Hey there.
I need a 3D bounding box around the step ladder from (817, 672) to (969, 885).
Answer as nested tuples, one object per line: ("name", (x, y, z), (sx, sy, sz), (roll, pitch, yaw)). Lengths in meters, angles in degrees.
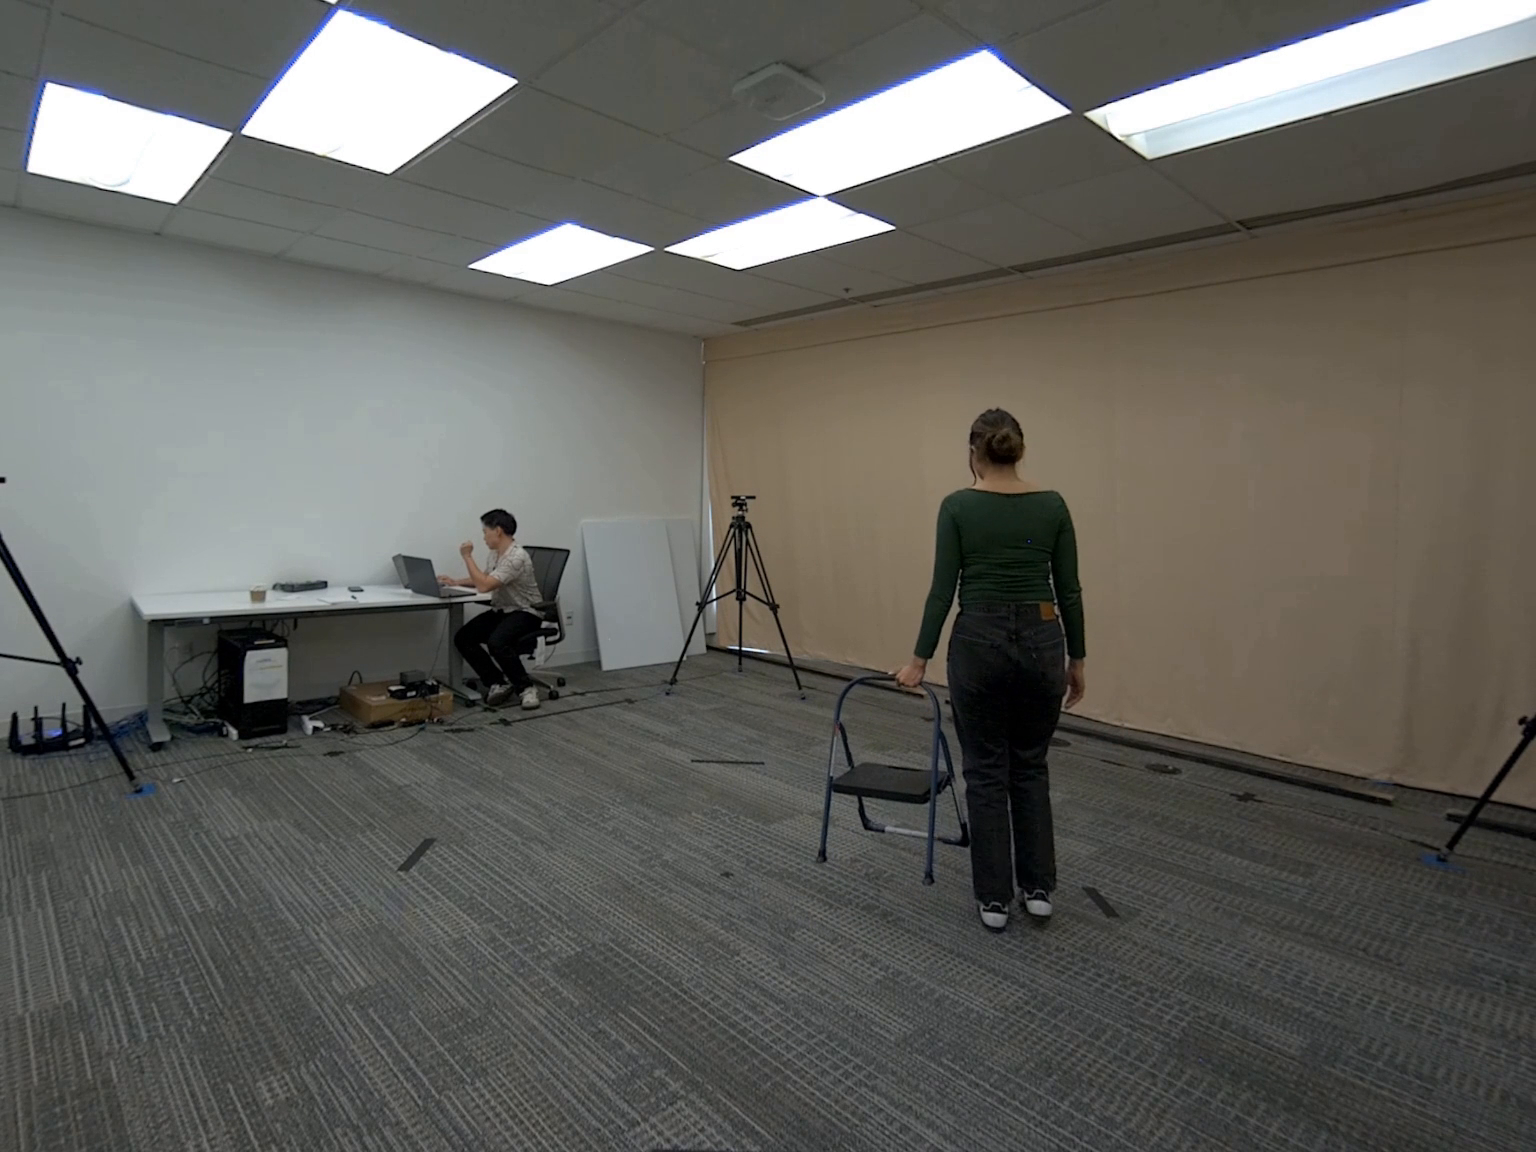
("step ladder", (0.404, 0.662, 2.891), (0.440, 0.605, 0.342), (-2, 3, 37))
